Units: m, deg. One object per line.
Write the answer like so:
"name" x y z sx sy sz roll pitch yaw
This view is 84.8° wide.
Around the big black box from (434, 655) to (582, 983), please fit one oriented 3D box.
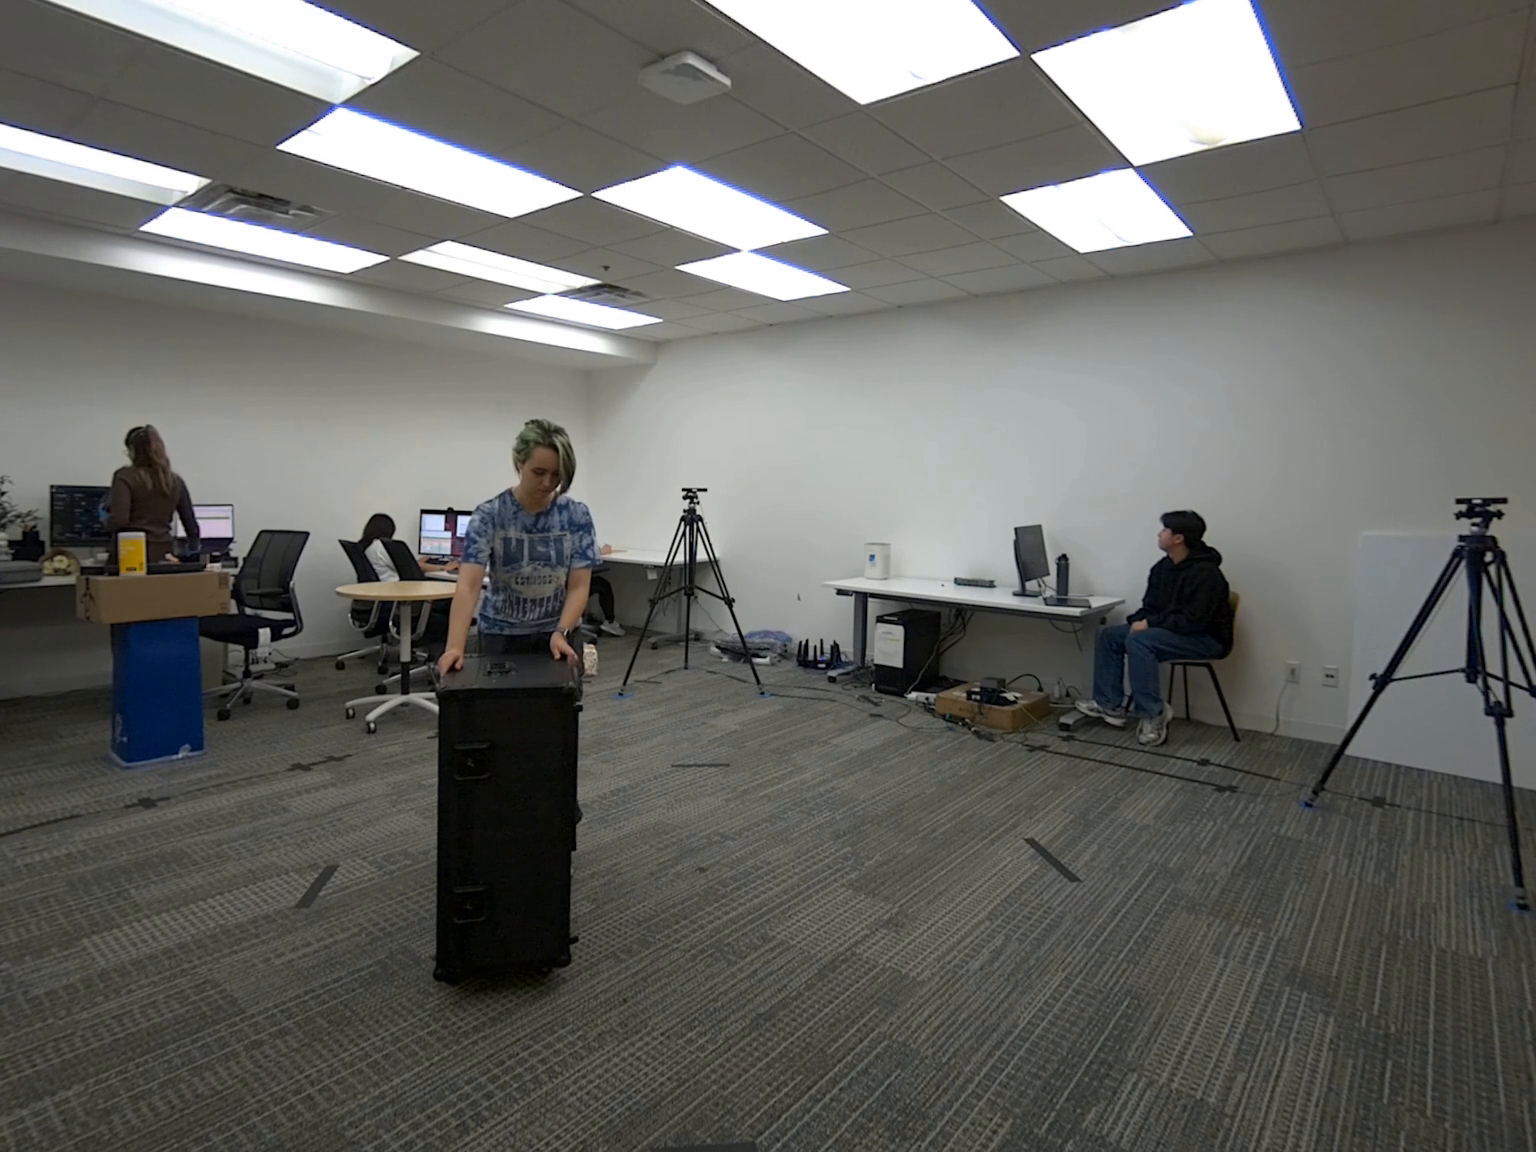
"big black box" -0.774 0.700 2.521 0.390 0.859 0.530 1 3 -15
